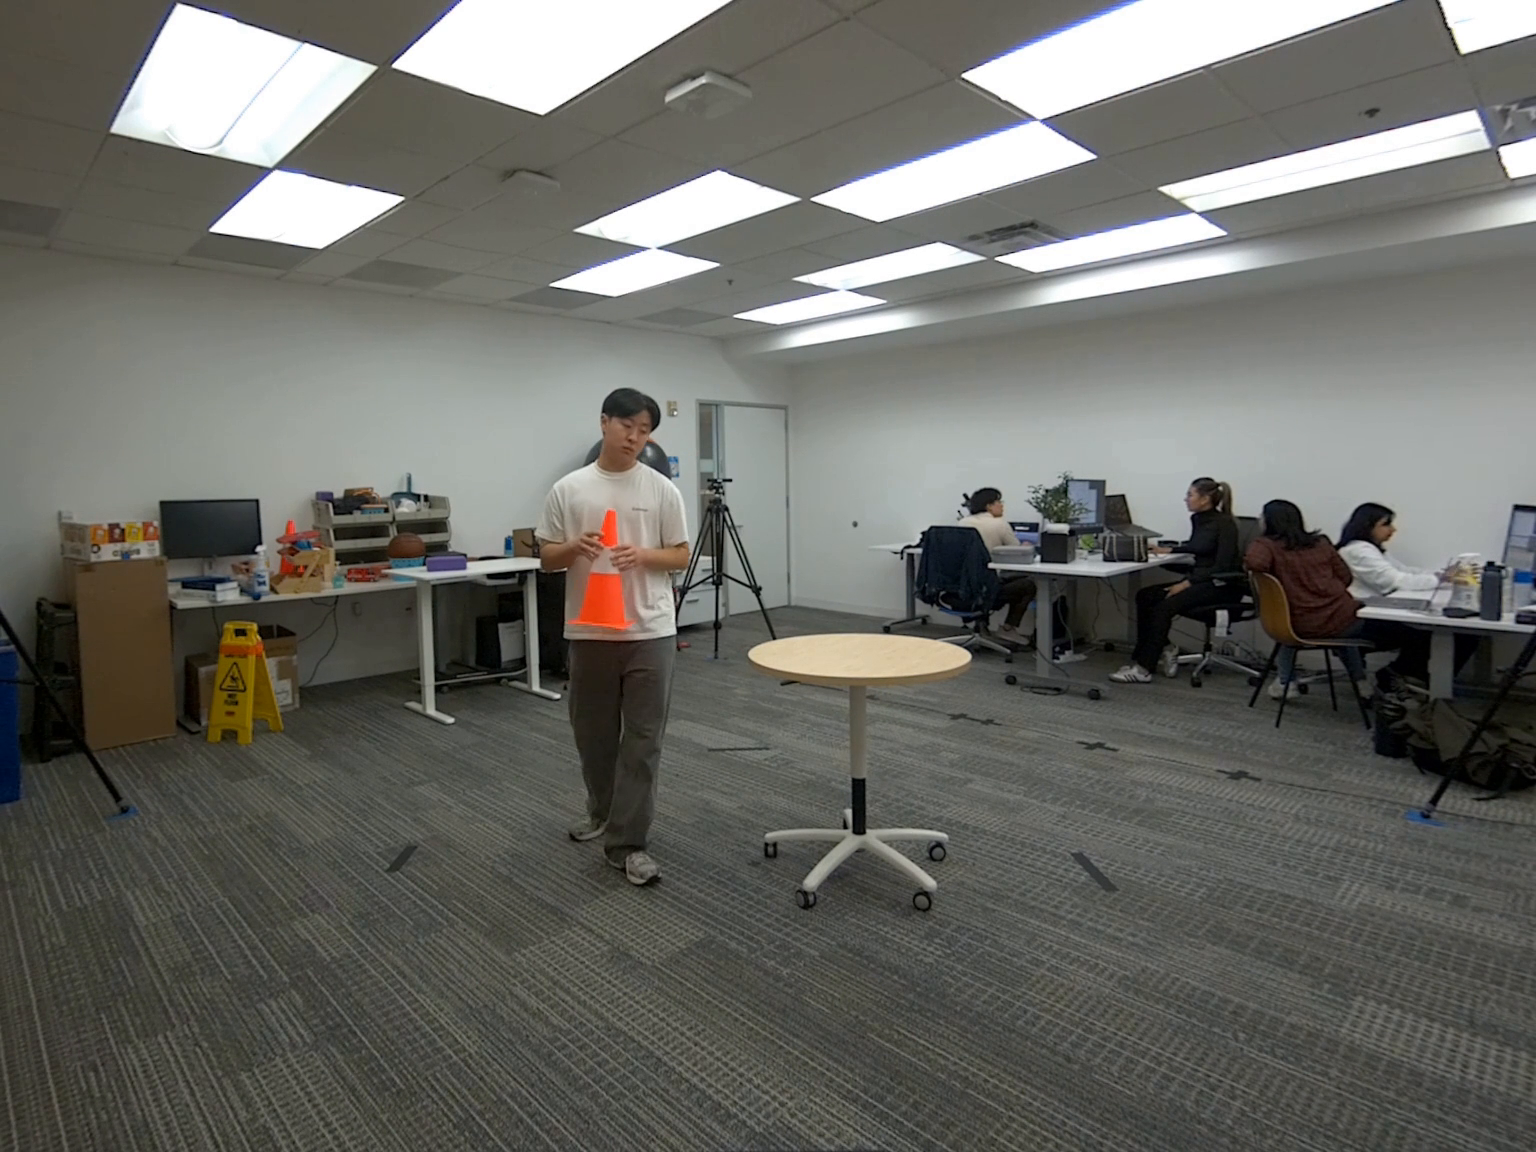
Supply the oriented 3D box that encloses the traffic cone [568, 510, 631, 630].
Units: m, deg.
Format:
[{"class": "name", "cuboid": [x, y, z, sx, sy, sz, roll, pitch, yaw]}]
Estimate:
[{"class": "traffic cone", "cuboid": [-0.554, -0.030, 2.887, 0.208, 0.383, 0.201, 3, 1, 22]}]
